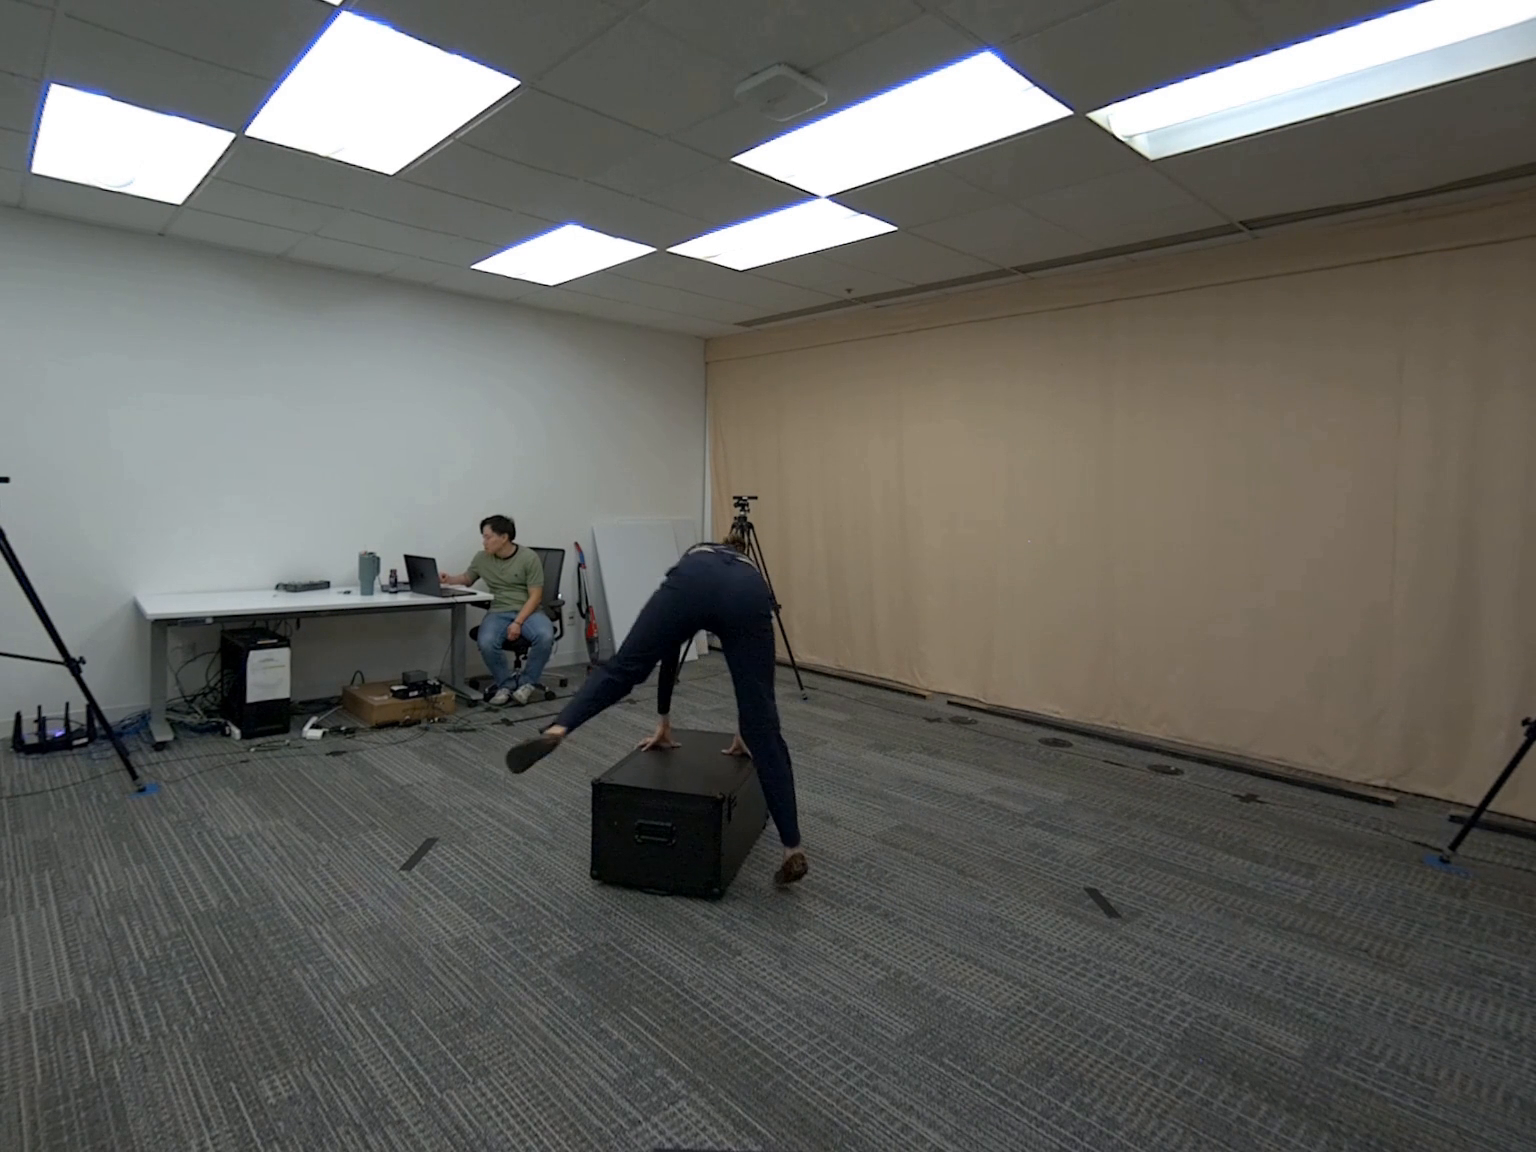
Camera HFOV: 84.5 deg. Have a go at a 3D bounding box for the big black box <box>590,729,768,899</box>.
[{"bbox_3d":[-0.303,0.887,3.323,0.527,0.395,0.854,2,6,13],"label":"big black box"}]
